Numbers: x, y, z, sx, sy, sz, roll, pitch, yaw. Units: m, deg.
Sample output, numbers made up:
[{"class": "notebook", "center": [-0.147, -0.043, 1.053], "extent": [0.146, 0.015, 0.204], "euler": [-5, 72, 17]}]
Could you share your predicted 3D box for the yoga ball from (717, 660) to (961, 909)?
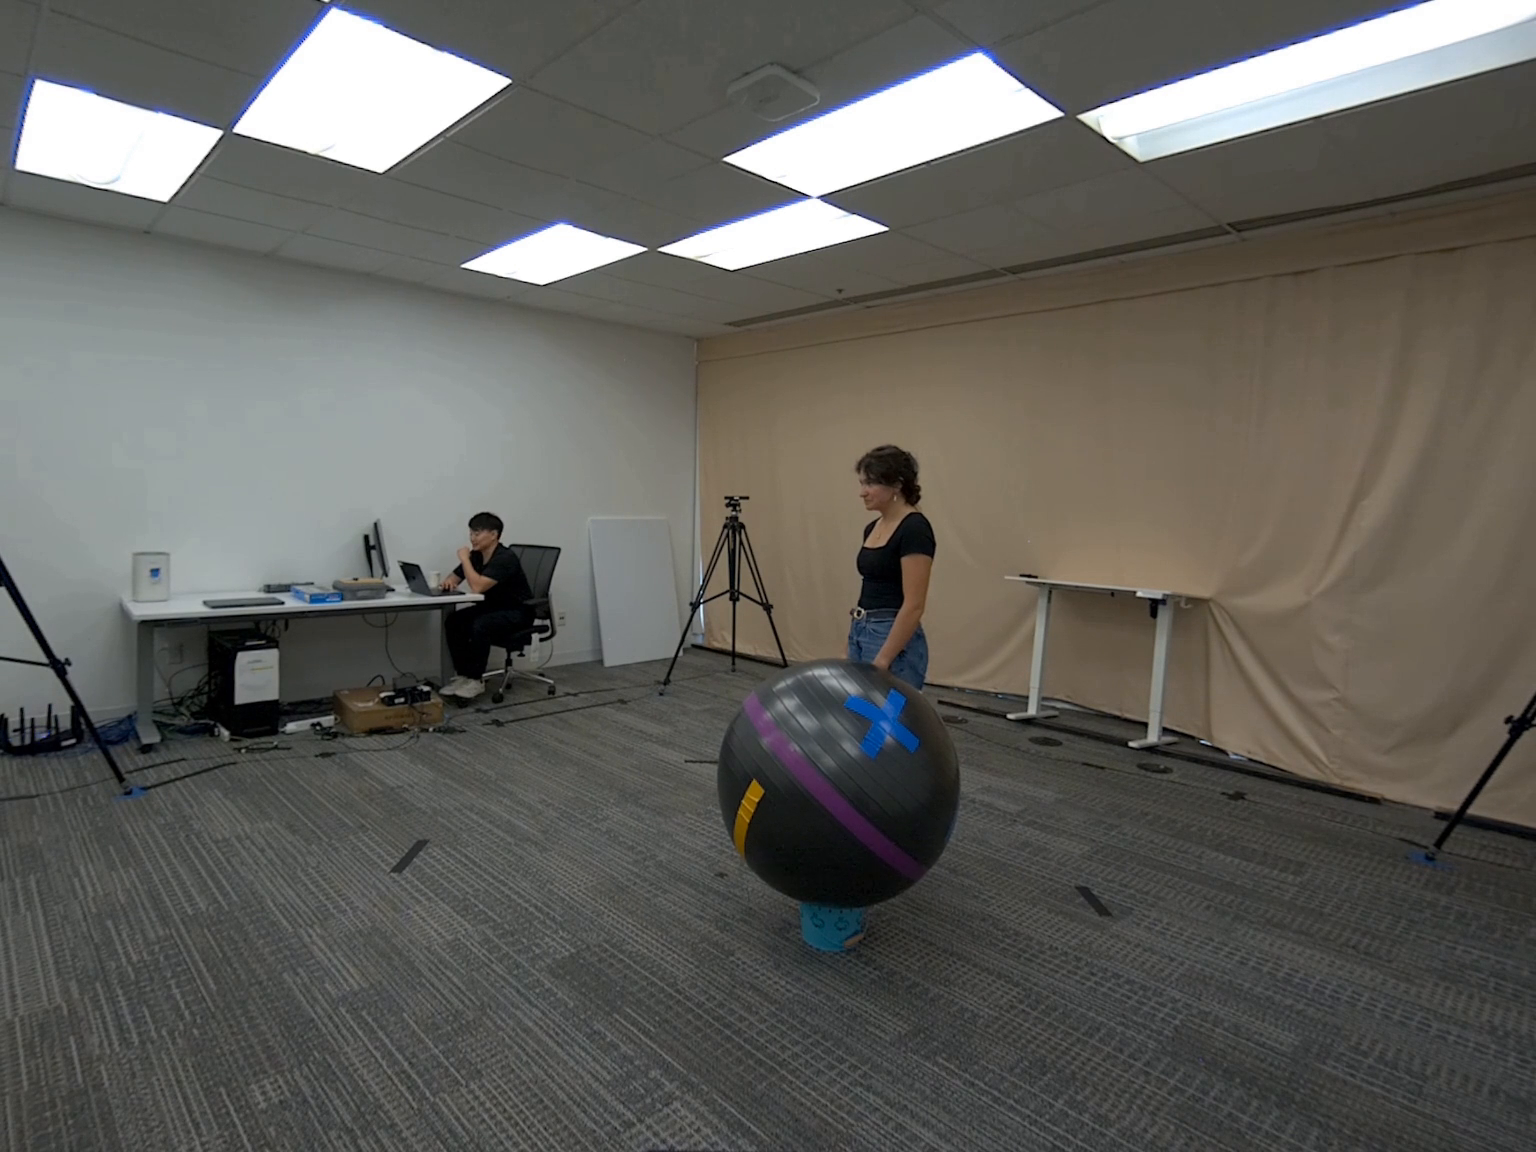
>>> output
[{"class": "yoga ball", "center": [0.225, 0.655, 2.651], "extent": [0.757, 0.756, 0.761], "euler": [1, 4, -1]}]
